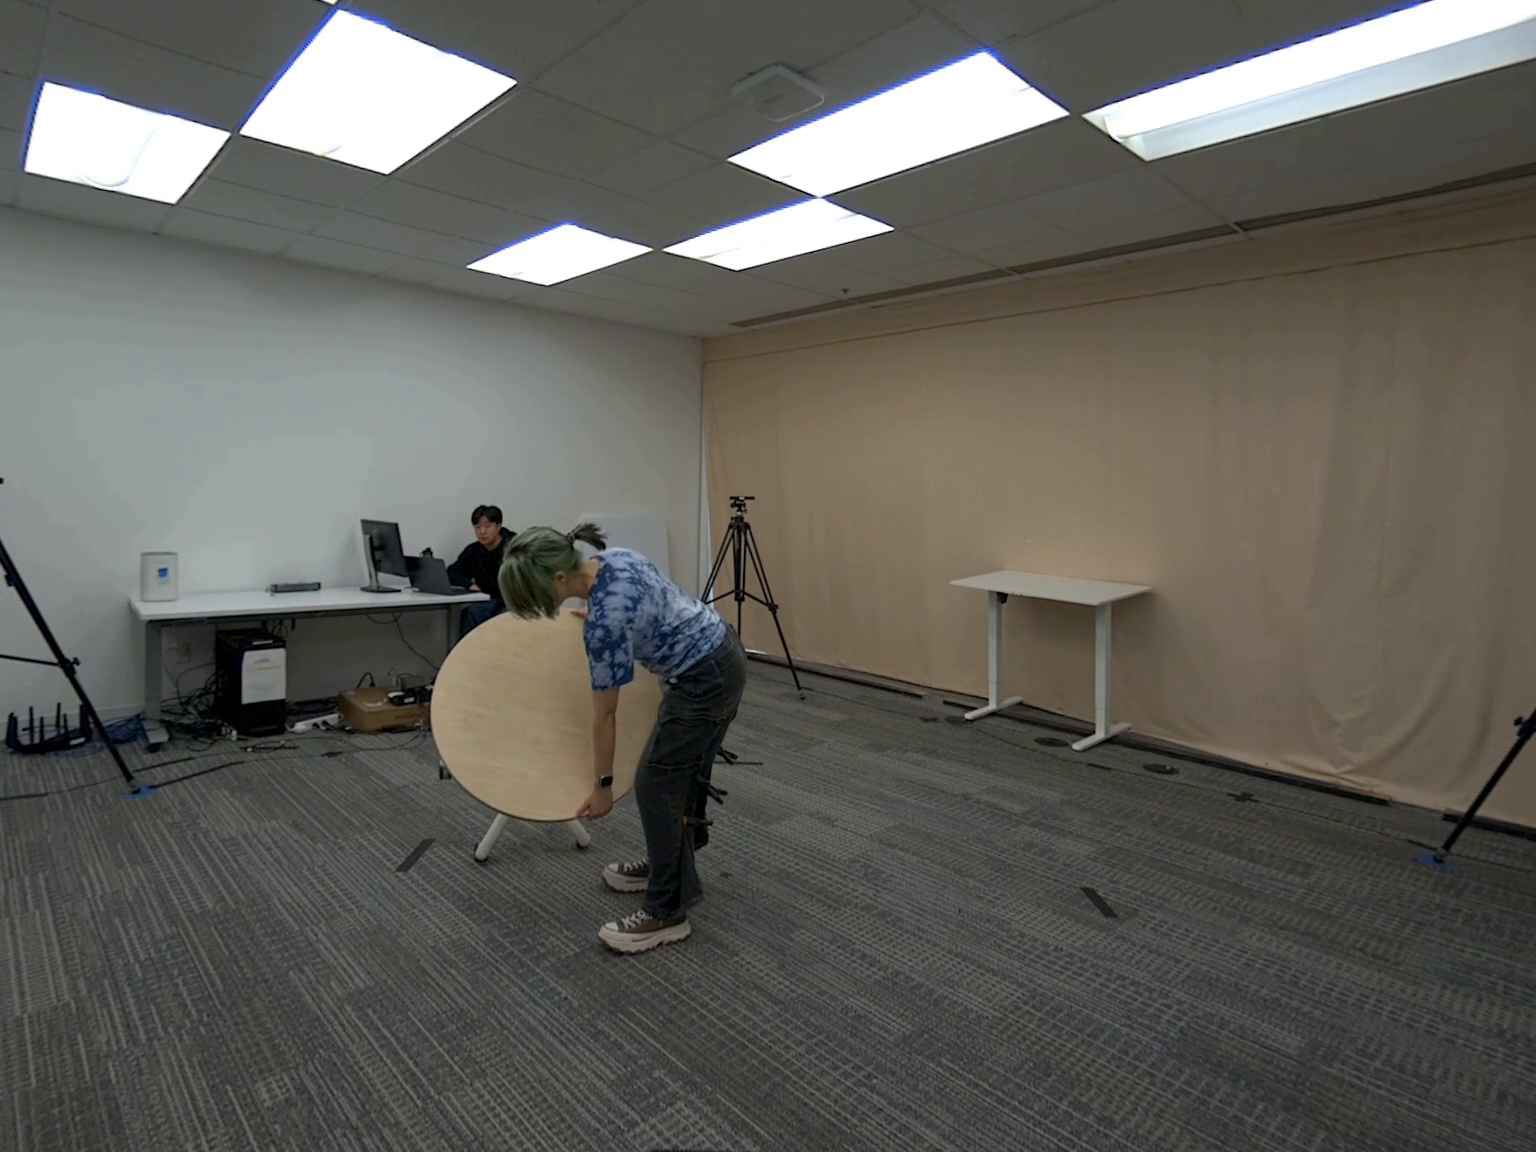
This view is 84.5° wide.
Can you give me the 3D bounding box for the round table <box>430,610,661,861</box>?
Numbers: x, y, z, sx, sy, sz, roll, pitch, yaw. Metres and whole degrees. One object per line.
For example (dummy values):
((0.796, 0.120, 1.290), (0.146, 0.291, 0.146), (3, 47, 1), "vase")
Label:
((-0.855, 0.640, 3.115), (0.752, 0.783, 0.787), (0, -34, -22), "round table")
